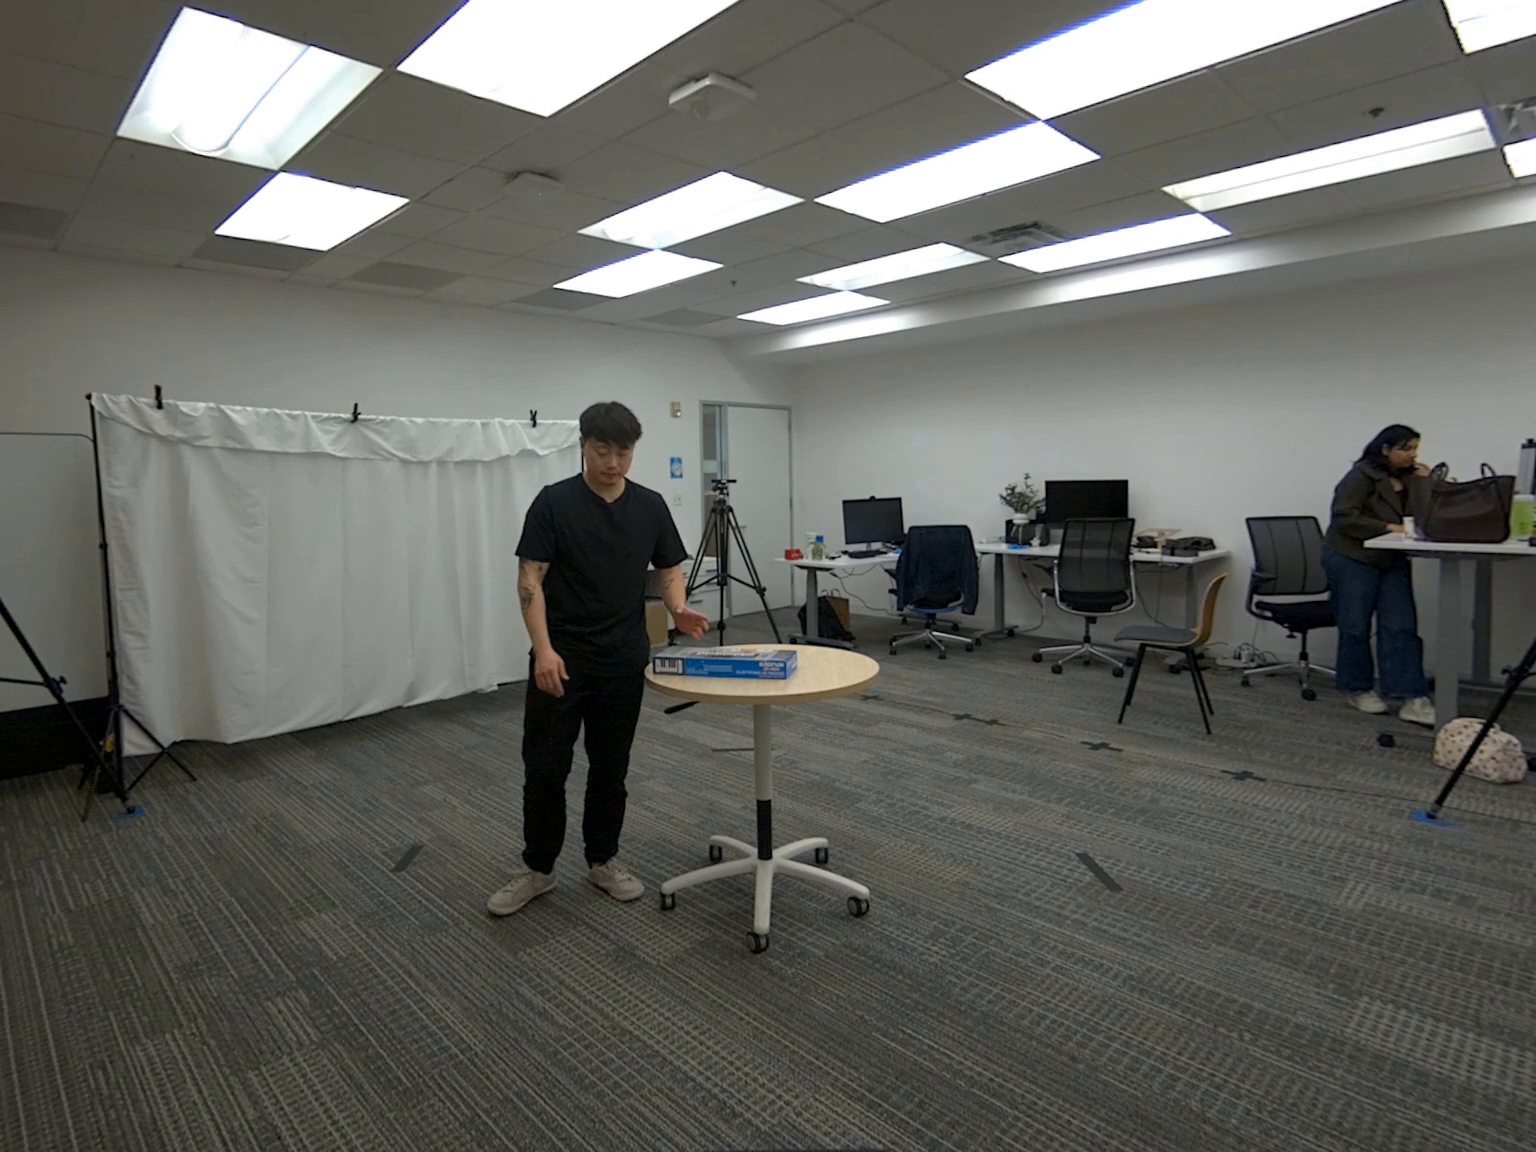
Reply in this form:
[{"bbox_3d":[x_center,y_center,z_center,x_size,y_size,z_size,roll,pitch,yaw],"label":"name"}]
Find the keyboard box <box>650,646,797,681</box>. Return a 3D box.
[{"bbox_3d":[-0.135,0.275,2.749,0.444,0.059,0.174,0,7,16],"label":"keyboard box"}]
